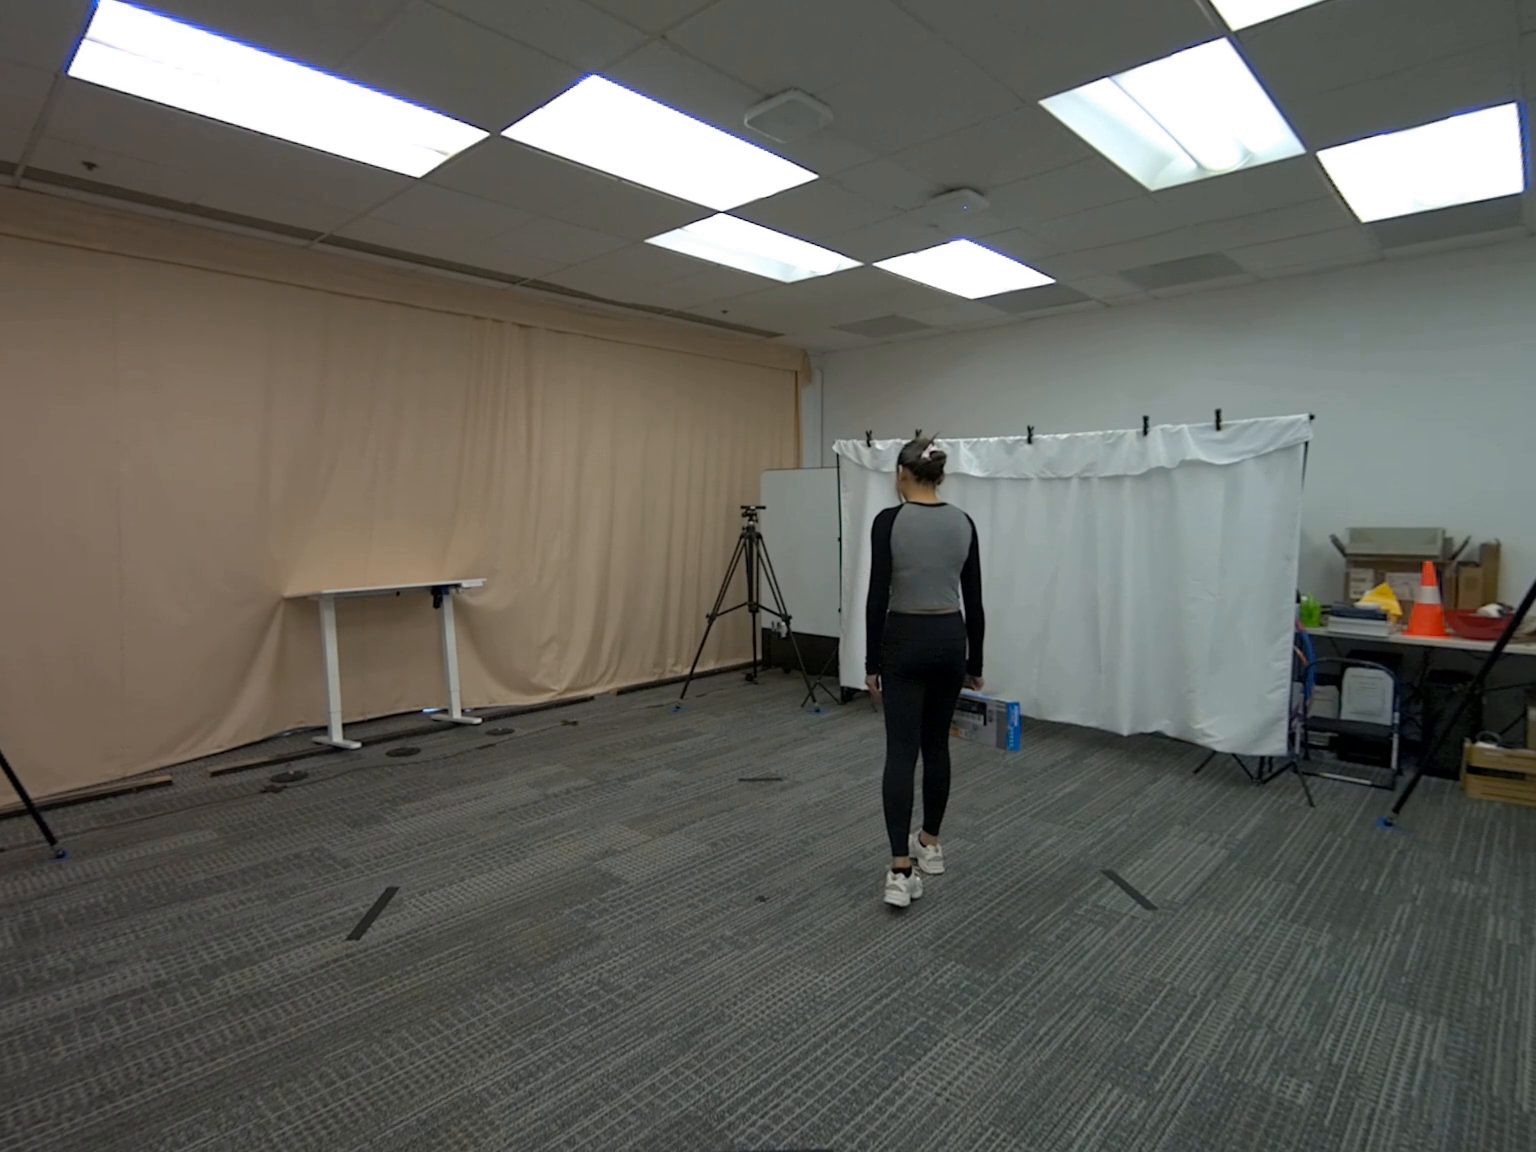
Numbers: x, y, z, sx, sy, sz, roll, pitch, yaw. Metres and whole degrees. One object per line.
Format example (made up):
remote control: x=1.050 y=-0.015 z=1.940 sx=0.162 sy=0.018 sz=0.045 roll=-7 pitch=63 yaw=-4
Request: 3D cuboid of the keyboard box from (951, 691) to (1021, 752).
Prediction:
keyboard box: x=0.781 y=0.539 z=3.220 sx=0.057 sy=0.176 sz=0.448 roll=1 pitch=0 yaw=-28
